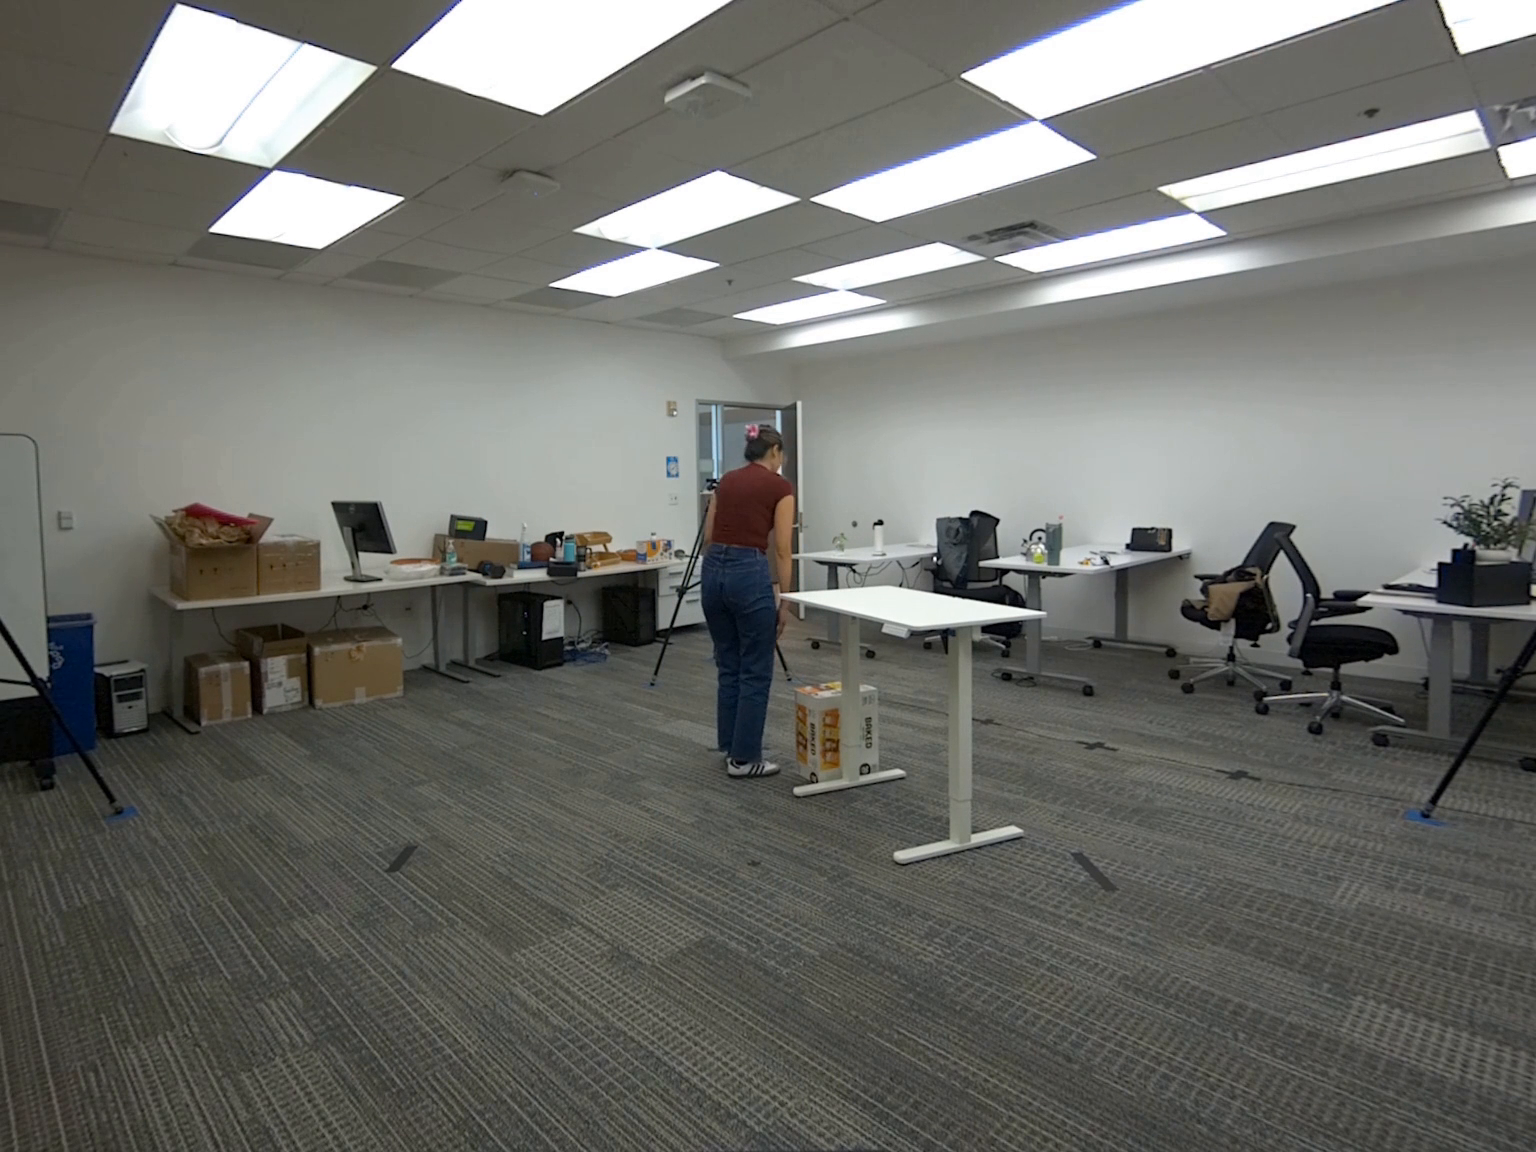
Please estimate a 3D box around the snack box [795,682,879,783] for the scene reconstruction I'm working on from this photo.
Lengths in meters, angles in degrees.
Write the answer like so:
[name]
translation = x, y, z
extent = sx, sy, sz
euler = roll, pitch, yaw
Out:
[snack box]
translation = 0.318, 0.722, 4.029
extent = 0.333, 0.403, 0.211
euler = -4, 6, -28
